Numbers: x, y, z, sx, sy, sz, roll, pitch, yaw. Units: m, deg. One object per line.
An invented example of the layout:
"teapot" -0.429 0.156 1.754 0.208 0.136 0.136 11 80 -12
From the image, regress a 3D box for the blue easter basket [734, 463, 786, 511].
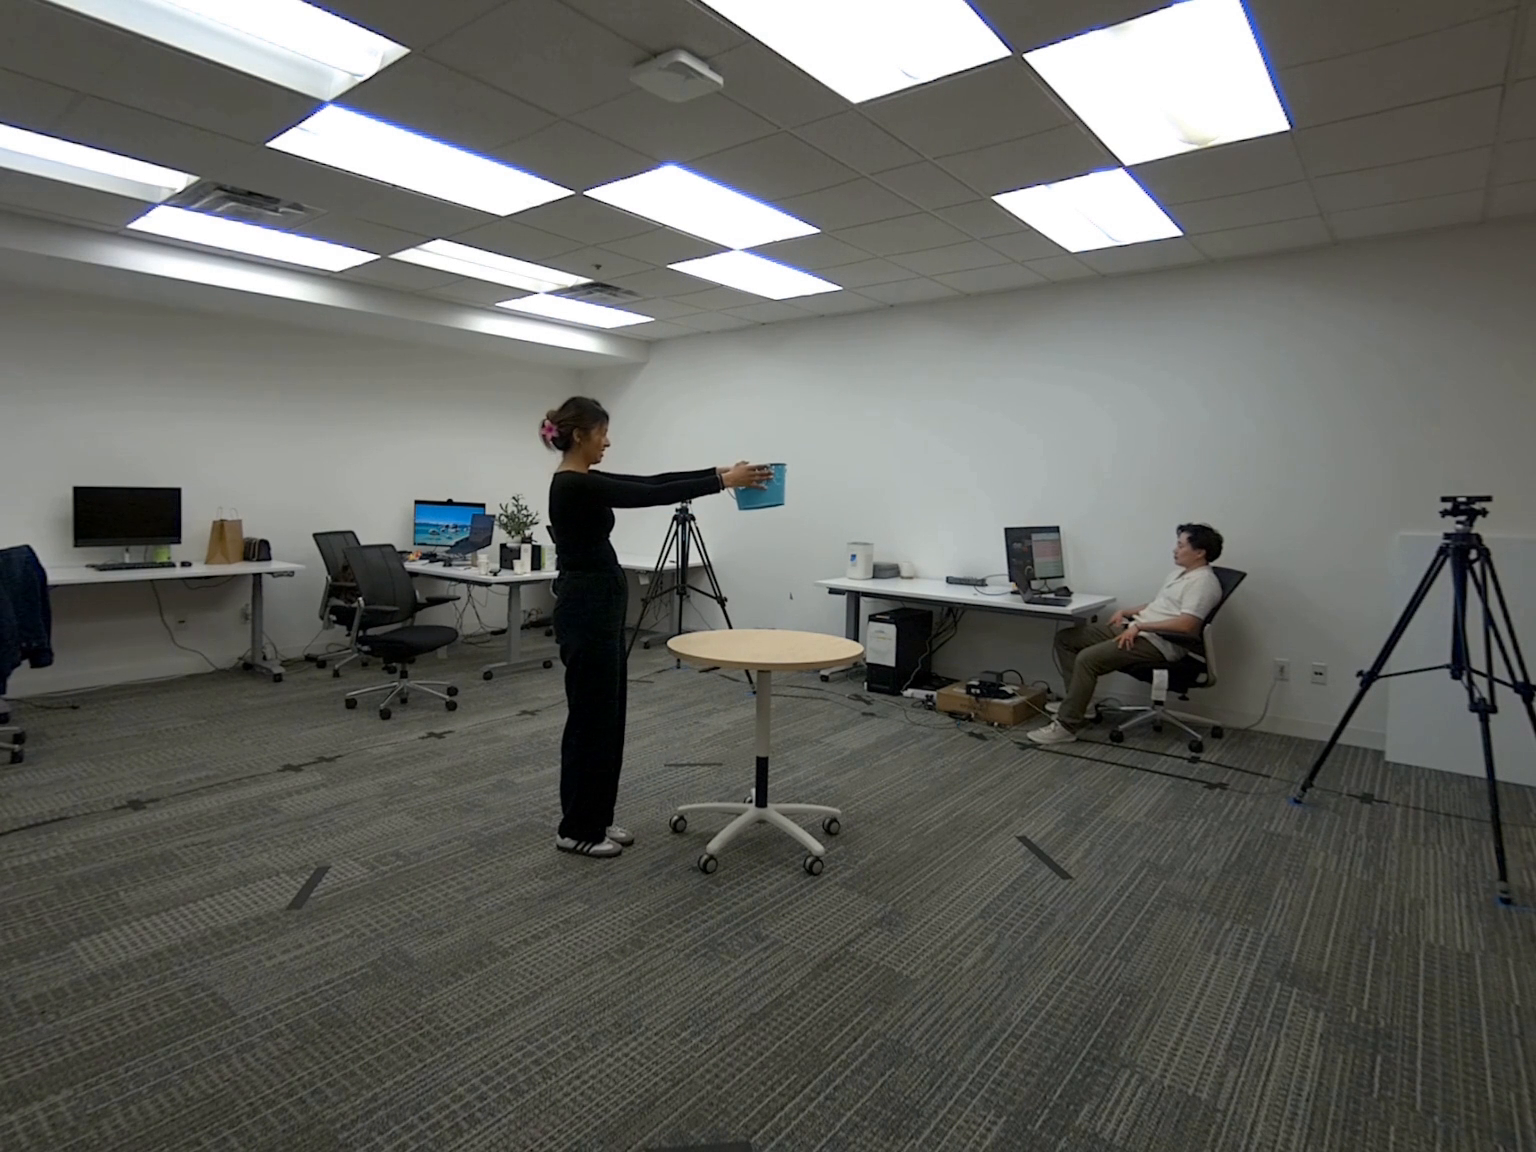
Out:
"blue easter basket" -0.044 -0.348 3.284 0.243 0.156 0.243 -3 0 -2
